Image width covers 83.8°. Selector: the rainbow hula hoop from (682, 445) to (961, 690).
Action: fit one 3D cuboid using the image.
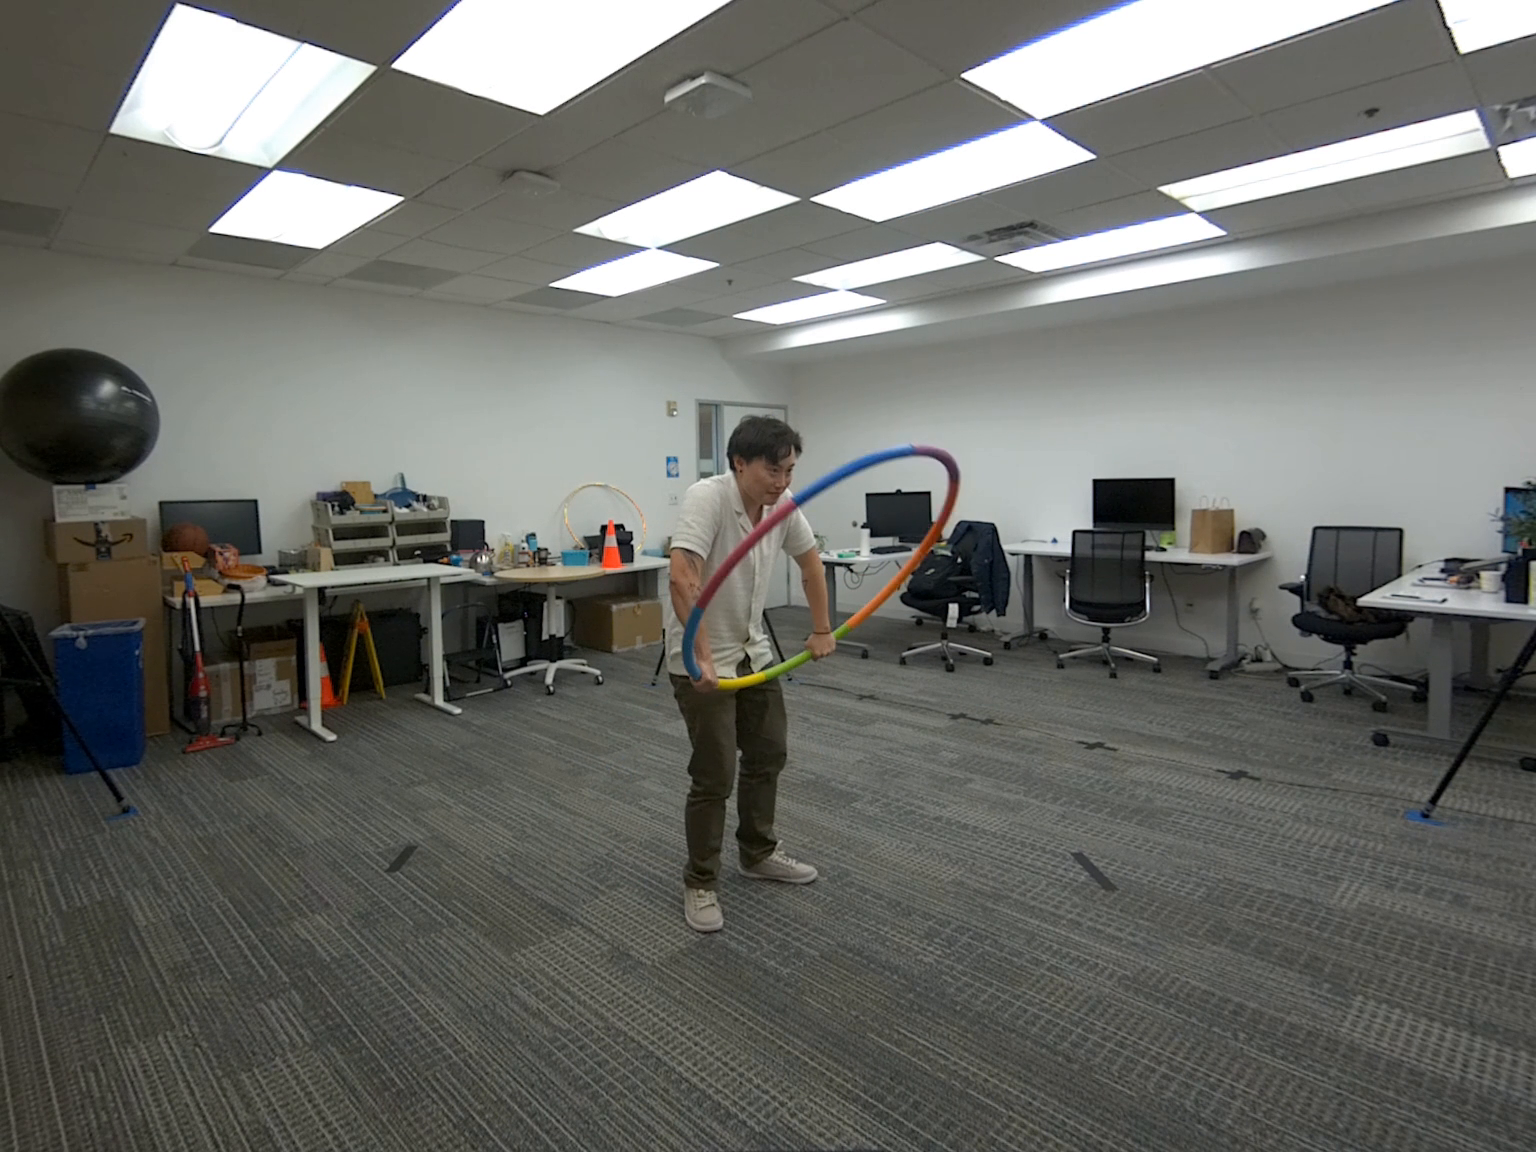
[{"bbox_3d":[0.164,0.000,2.510,0.953,0.972,0.037,-7,49,-47],"label":"rainbow hula hoop"}]
